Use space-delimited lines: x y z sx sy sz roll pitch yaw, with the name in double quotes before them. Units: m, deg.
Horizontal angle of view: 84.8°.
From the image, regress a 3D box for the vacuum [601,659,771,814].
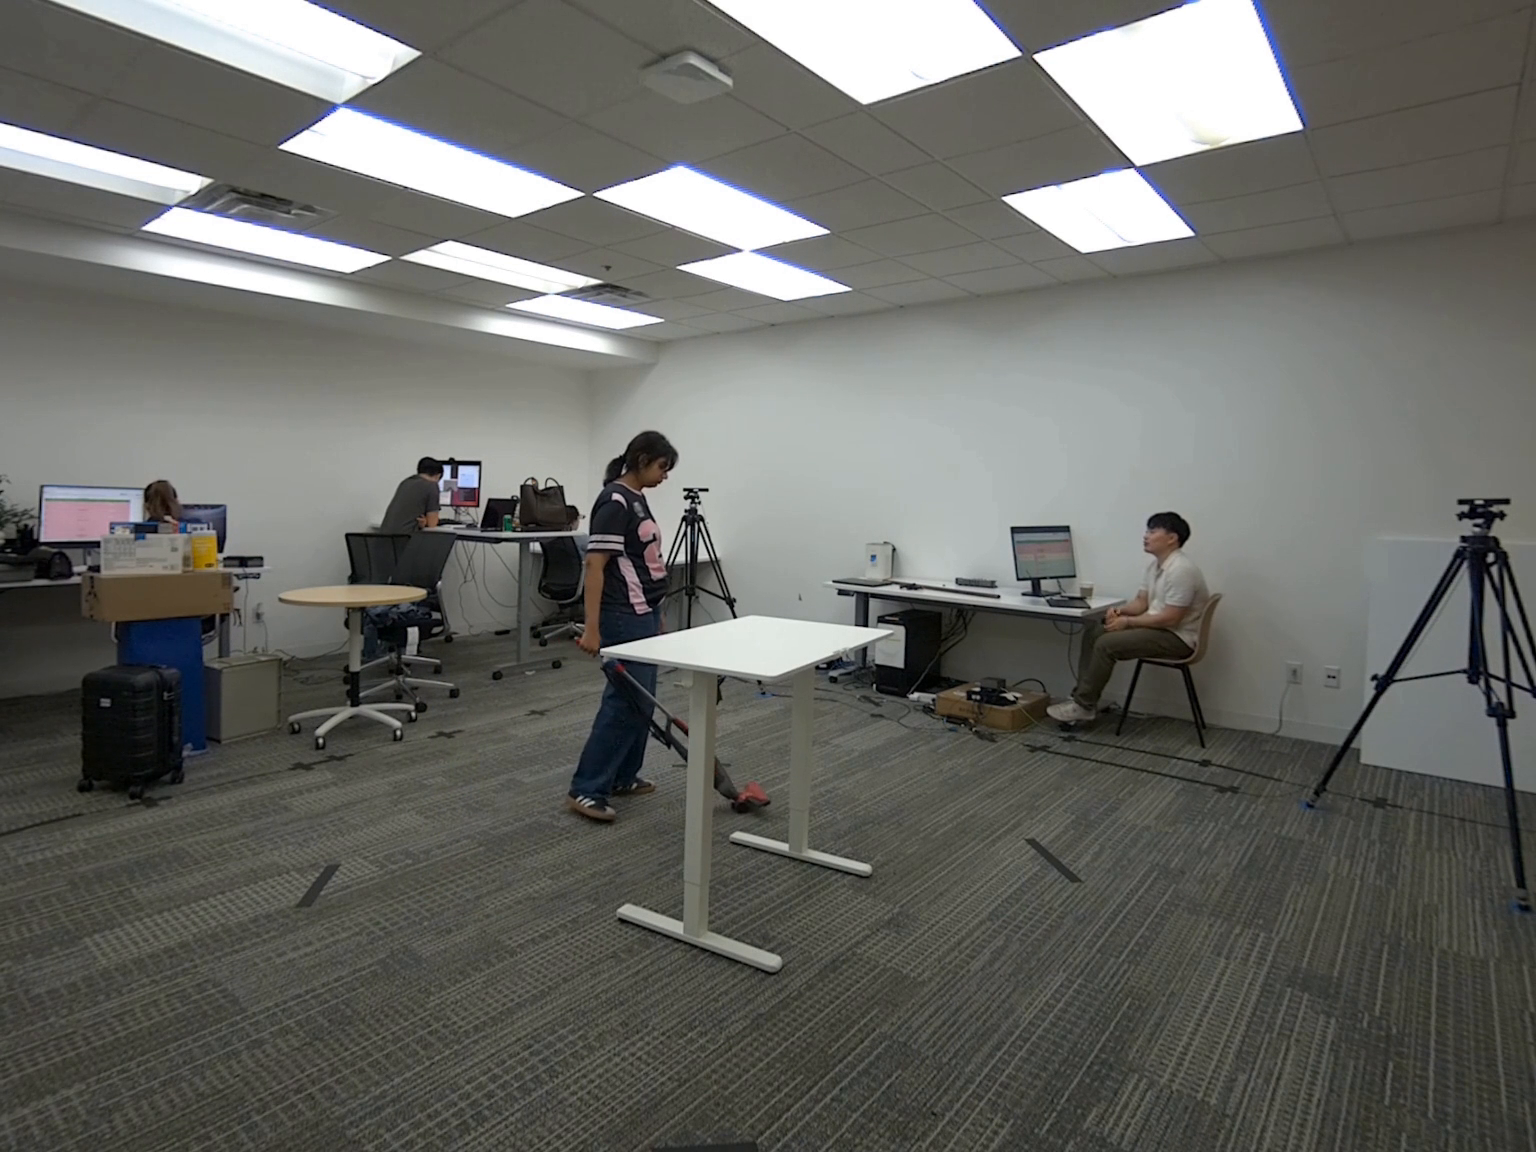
"vacuum" -0.442 0.640 3.635 1.031 0.144 0.257 43 -5 -12
